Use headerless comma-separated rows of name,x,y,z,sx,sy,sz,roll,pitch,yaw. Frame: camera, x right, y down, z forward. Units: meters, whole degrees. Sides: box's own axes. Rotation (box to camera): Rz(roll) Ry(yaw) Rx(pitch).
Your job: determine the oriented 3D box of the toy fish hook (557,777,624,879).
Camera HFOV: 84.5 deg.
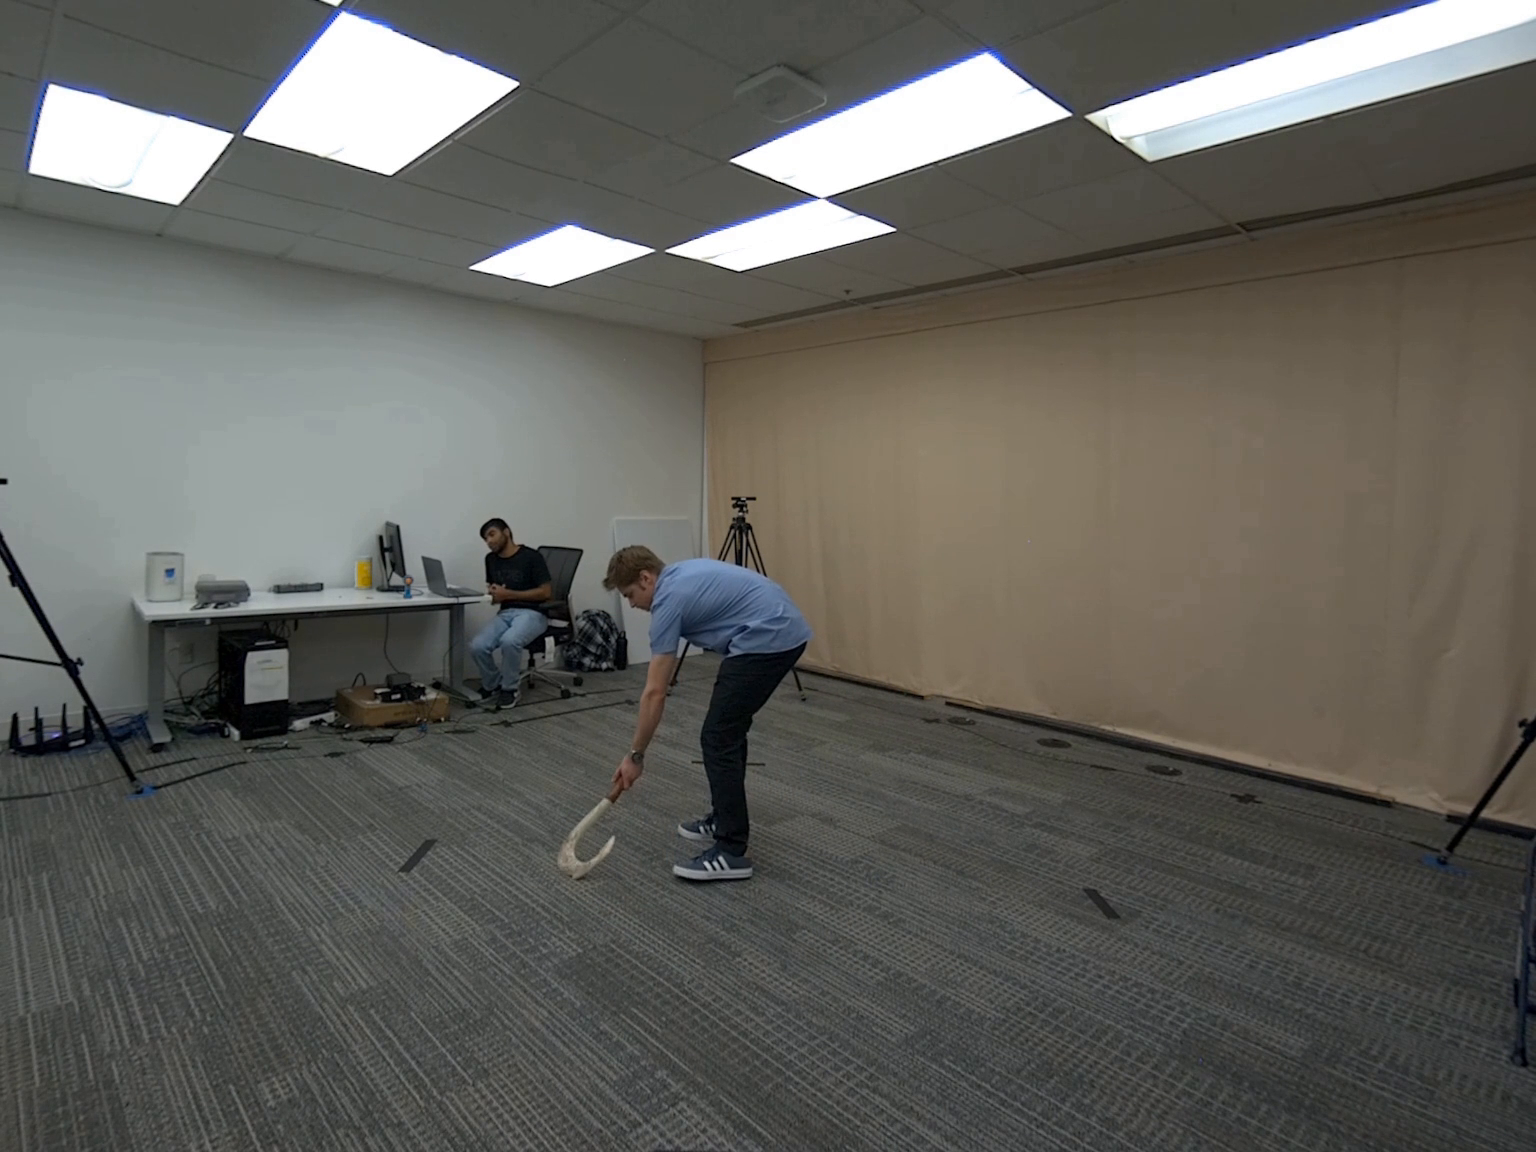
toy fish hook,-0.610,0.917,3.187,0.230,0.509,0.047,8,-38,37
